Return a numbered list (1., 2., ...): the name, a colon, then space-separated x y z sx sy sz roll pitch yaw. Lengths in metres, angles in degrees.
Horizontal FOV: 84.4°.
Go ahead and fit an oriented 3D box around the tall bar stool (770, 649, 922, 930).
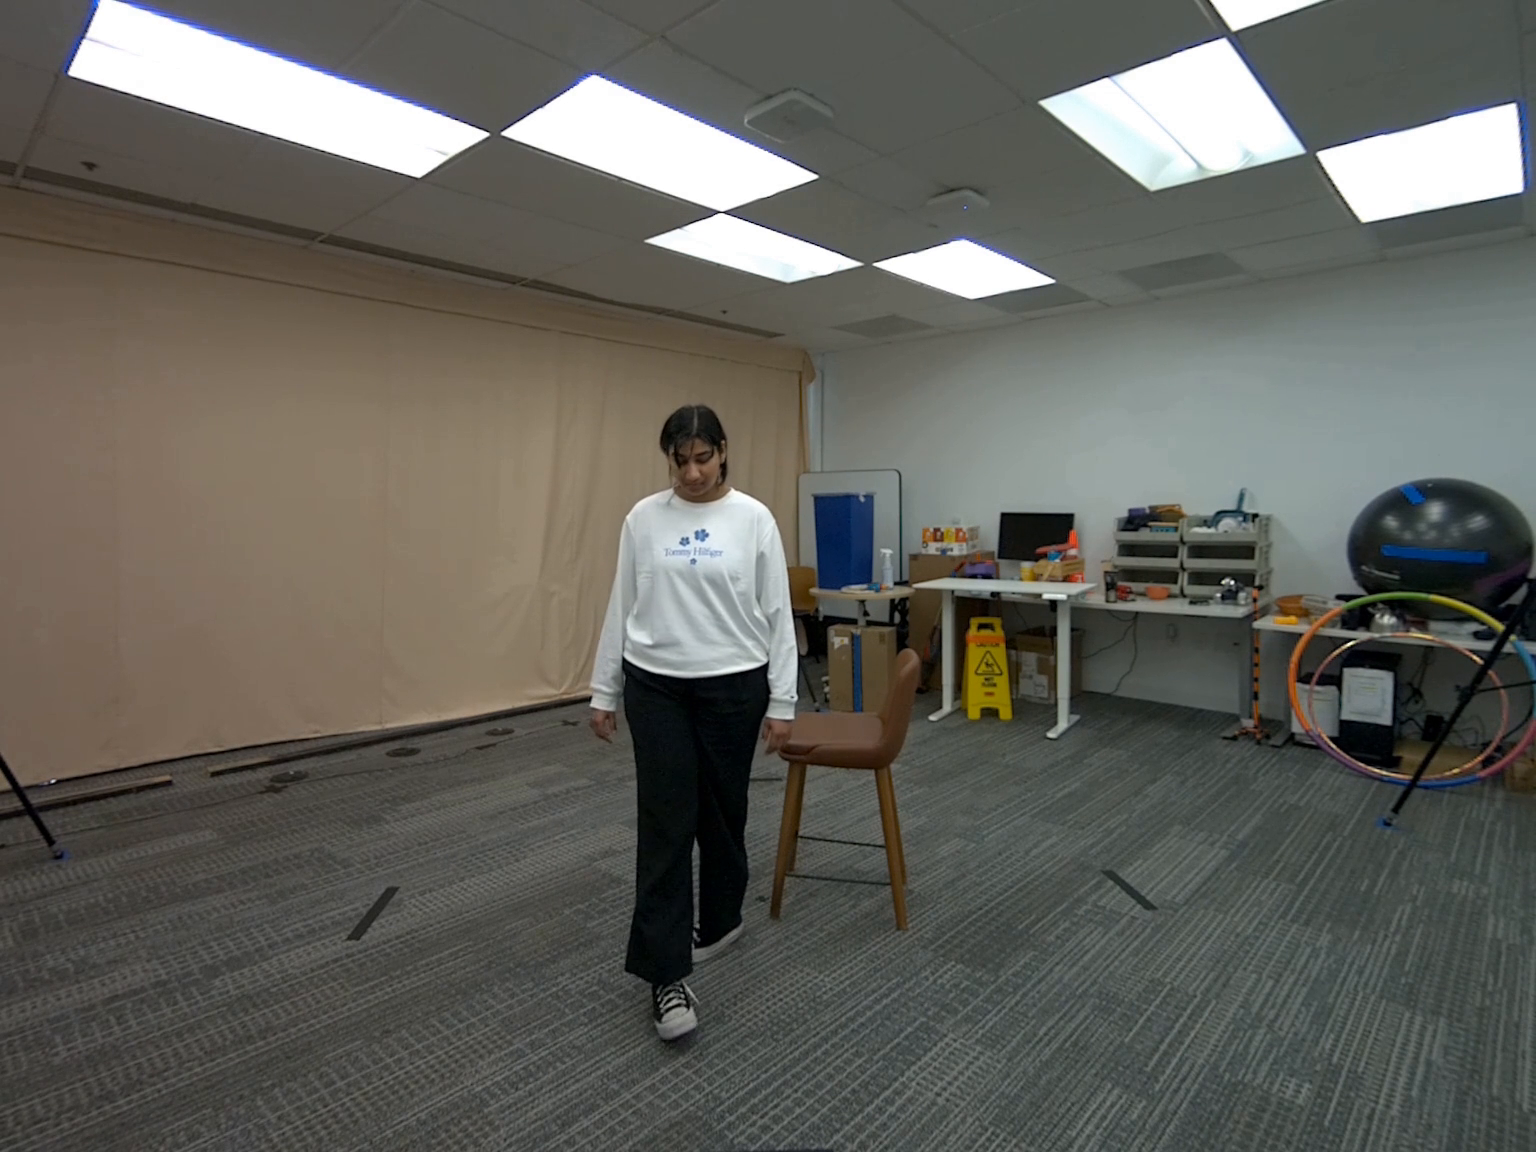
1. tall bar stool: 0.276 0.710 2.960 0.474 0.888 0.451 3 4 12
